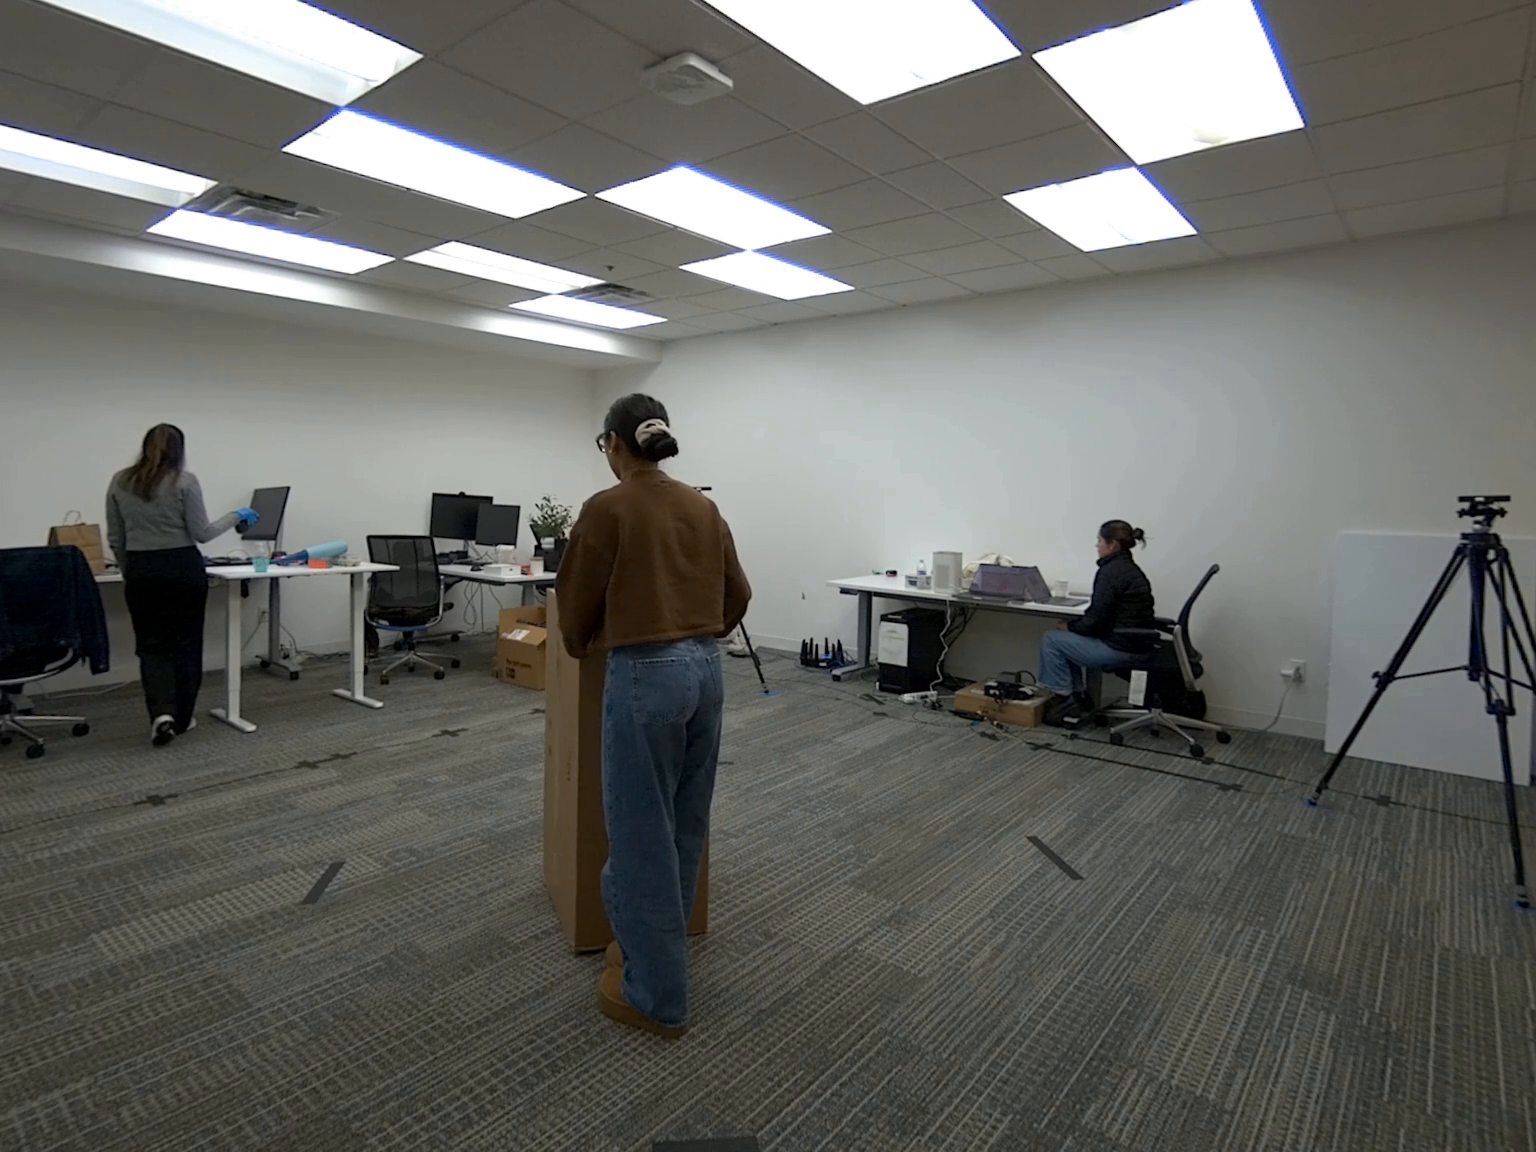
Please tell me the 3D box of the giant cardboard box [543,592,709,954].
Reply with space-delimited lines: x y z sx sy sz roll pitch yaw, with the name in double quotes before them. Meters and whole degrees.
"giant cardboard box" -0.489 0.576 2.830 0.417 1.024 0.592 0 2 -24
